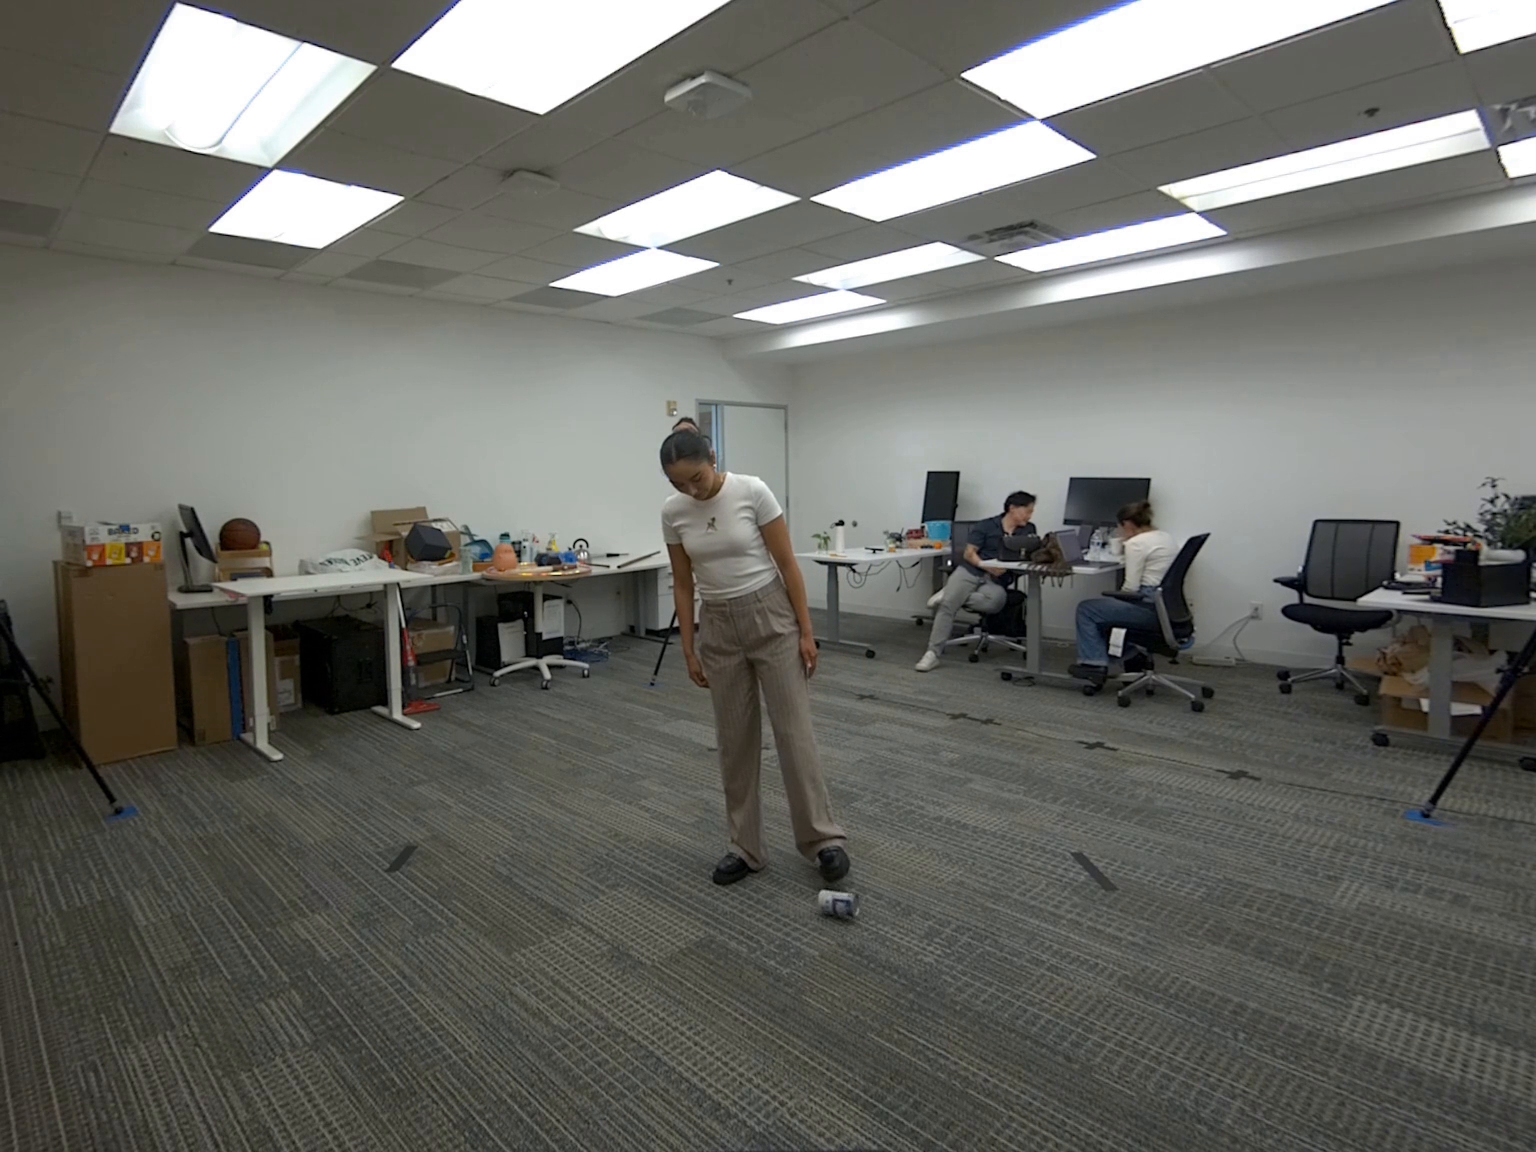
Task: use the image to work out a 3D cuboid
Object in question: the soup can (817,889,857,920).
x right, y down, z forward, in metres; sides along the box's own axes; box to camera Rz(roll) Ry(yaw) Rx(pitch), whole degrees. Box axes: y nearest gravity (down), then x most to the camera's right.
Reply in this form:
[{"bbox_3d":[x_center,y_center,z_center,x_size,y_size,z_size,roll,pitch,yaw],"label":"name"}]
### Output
[{"bbox_3d":[0.220,1.040,2.716,0.124,0.067,0.066,-6,2,28],"label":"soup can"}]
